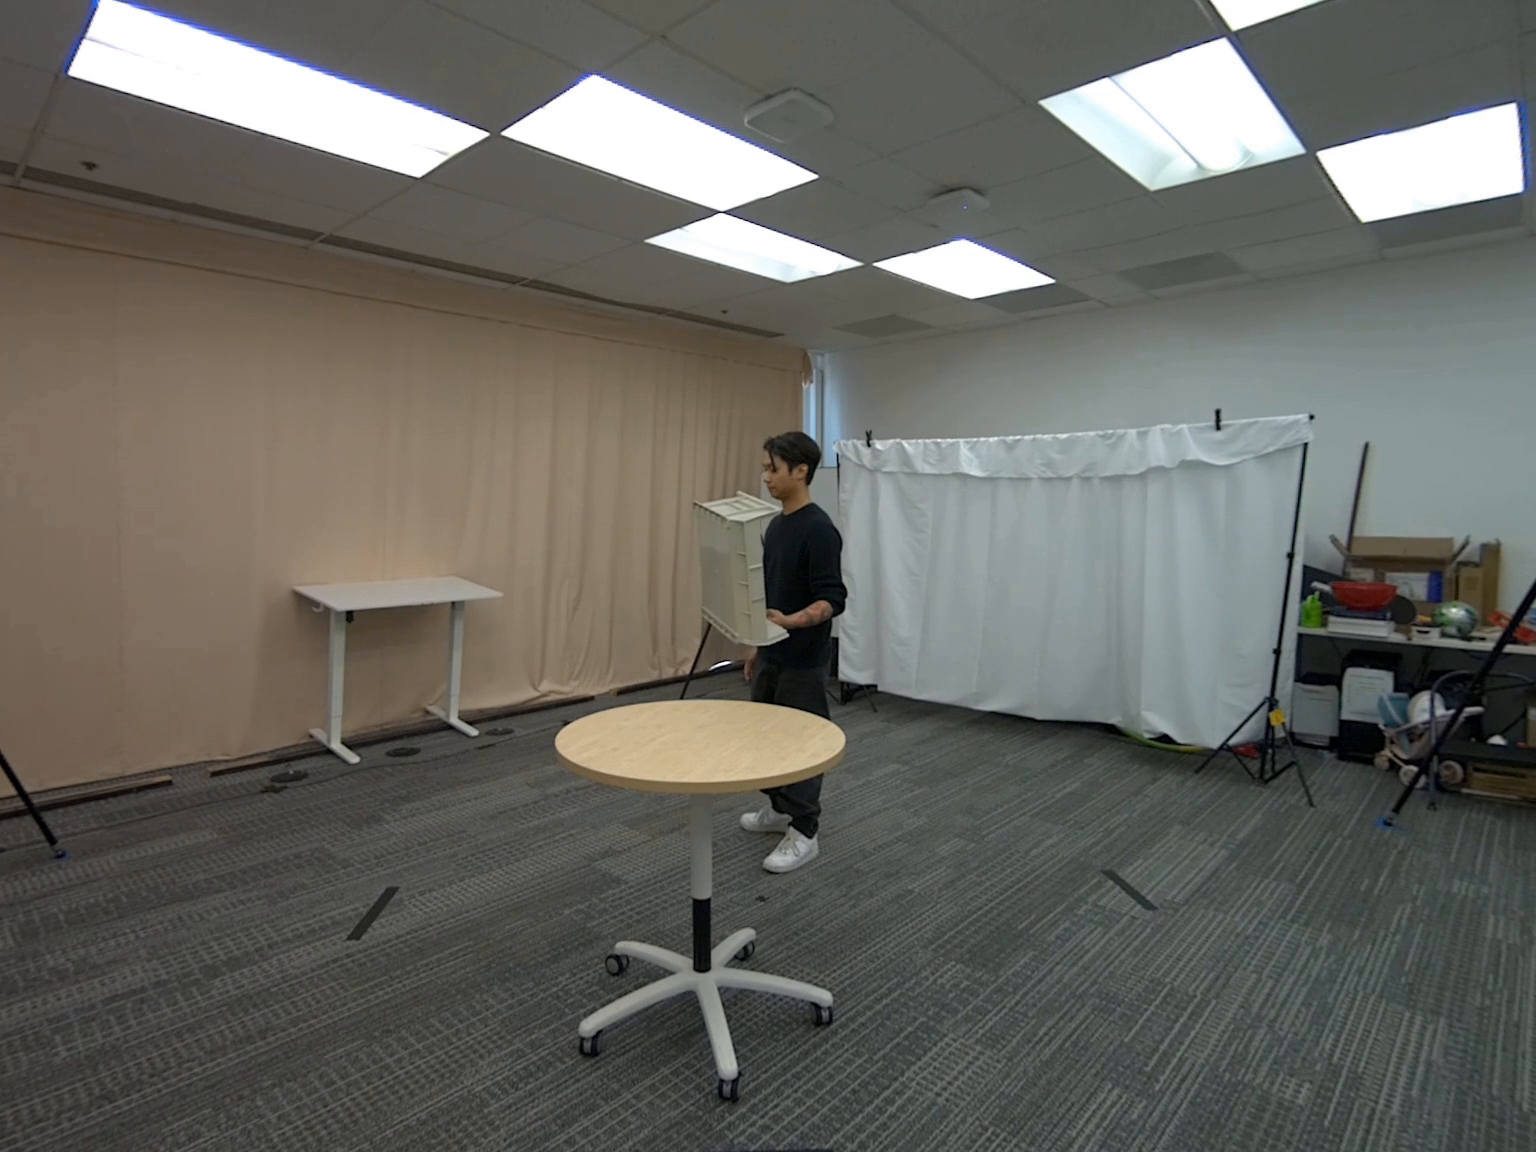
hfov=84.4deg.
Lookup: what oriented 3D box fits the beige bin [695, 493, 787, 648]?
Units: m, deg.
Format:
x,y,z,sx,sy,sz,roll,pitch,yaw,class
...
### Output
x,y,z,sx,sy,sz,roll,pitch,yaw,class
-0.081,-0.028,2.761,0.185,0.418,0.389,-10,17,-23,beige bin
